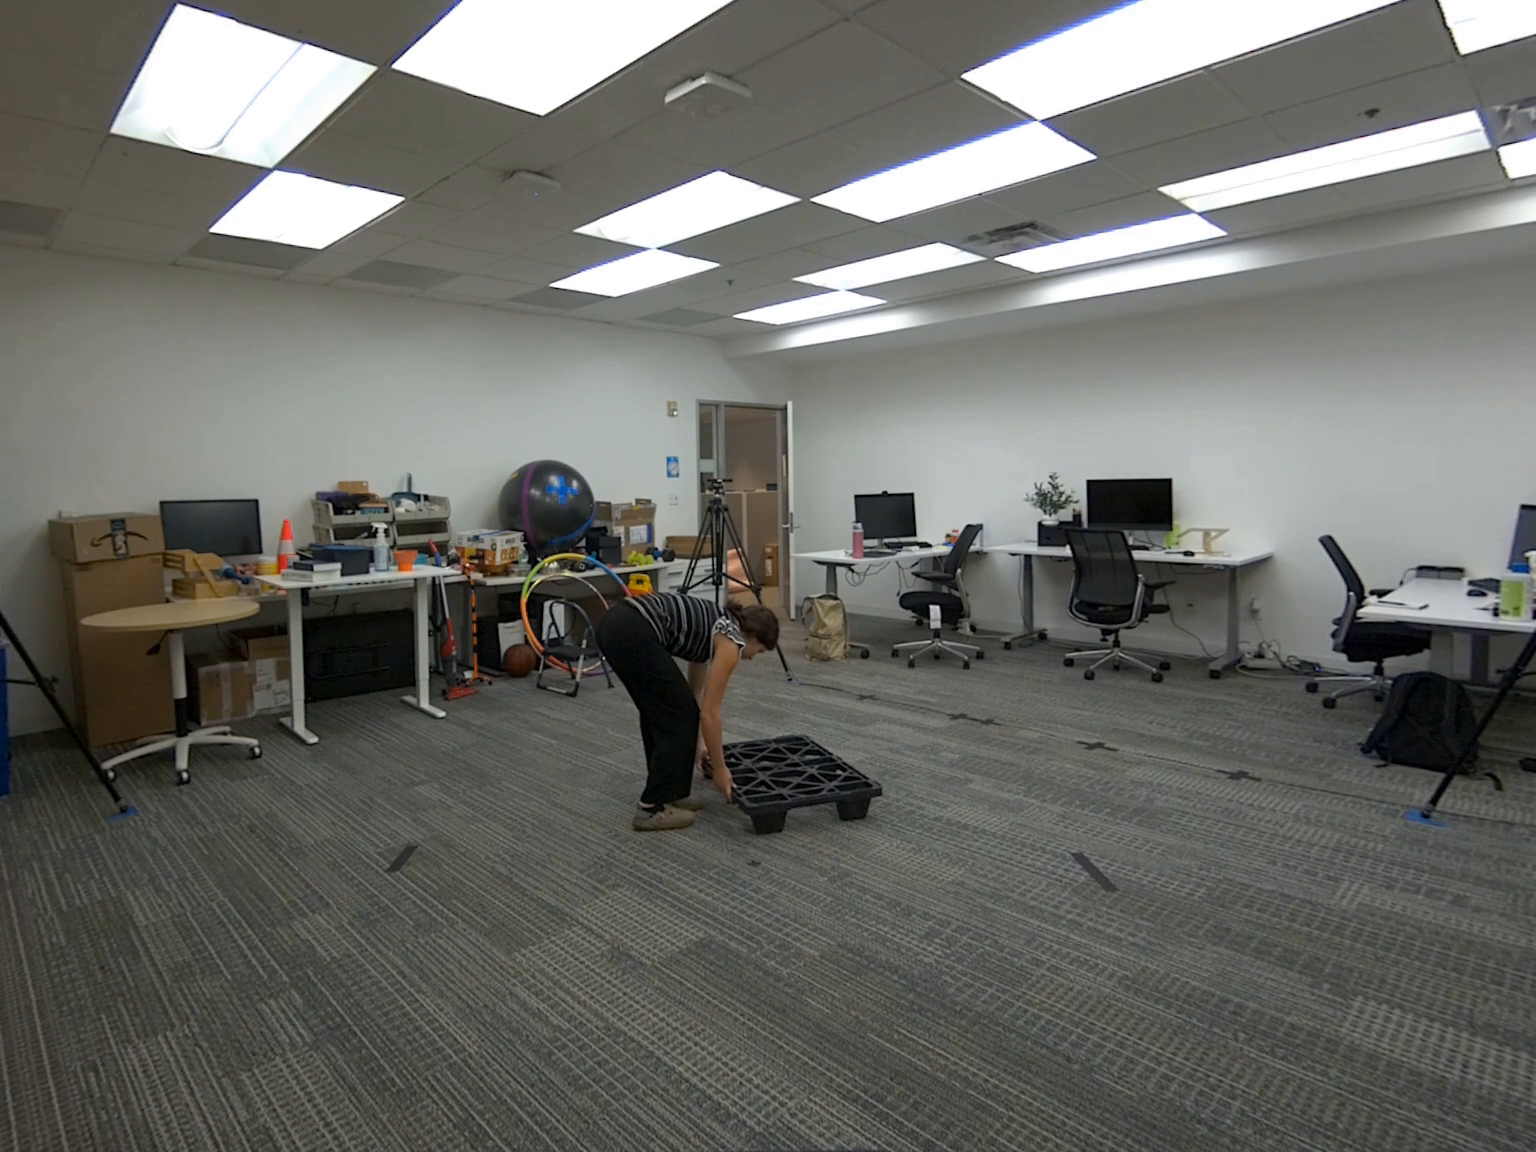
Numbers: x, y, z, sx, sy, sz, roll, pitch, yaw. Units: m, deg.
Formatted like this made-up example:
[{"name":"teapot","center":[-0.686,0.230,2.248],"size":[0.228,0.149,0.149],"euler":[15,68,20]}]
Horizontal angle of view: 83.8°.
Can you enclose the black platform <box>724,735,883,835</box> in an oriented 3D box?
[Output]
[{"name":"black platform","center":[0.044,0.905,3.766],"size":[0.595,0.143,0.823],"euler":[-4,7,-20]}]
